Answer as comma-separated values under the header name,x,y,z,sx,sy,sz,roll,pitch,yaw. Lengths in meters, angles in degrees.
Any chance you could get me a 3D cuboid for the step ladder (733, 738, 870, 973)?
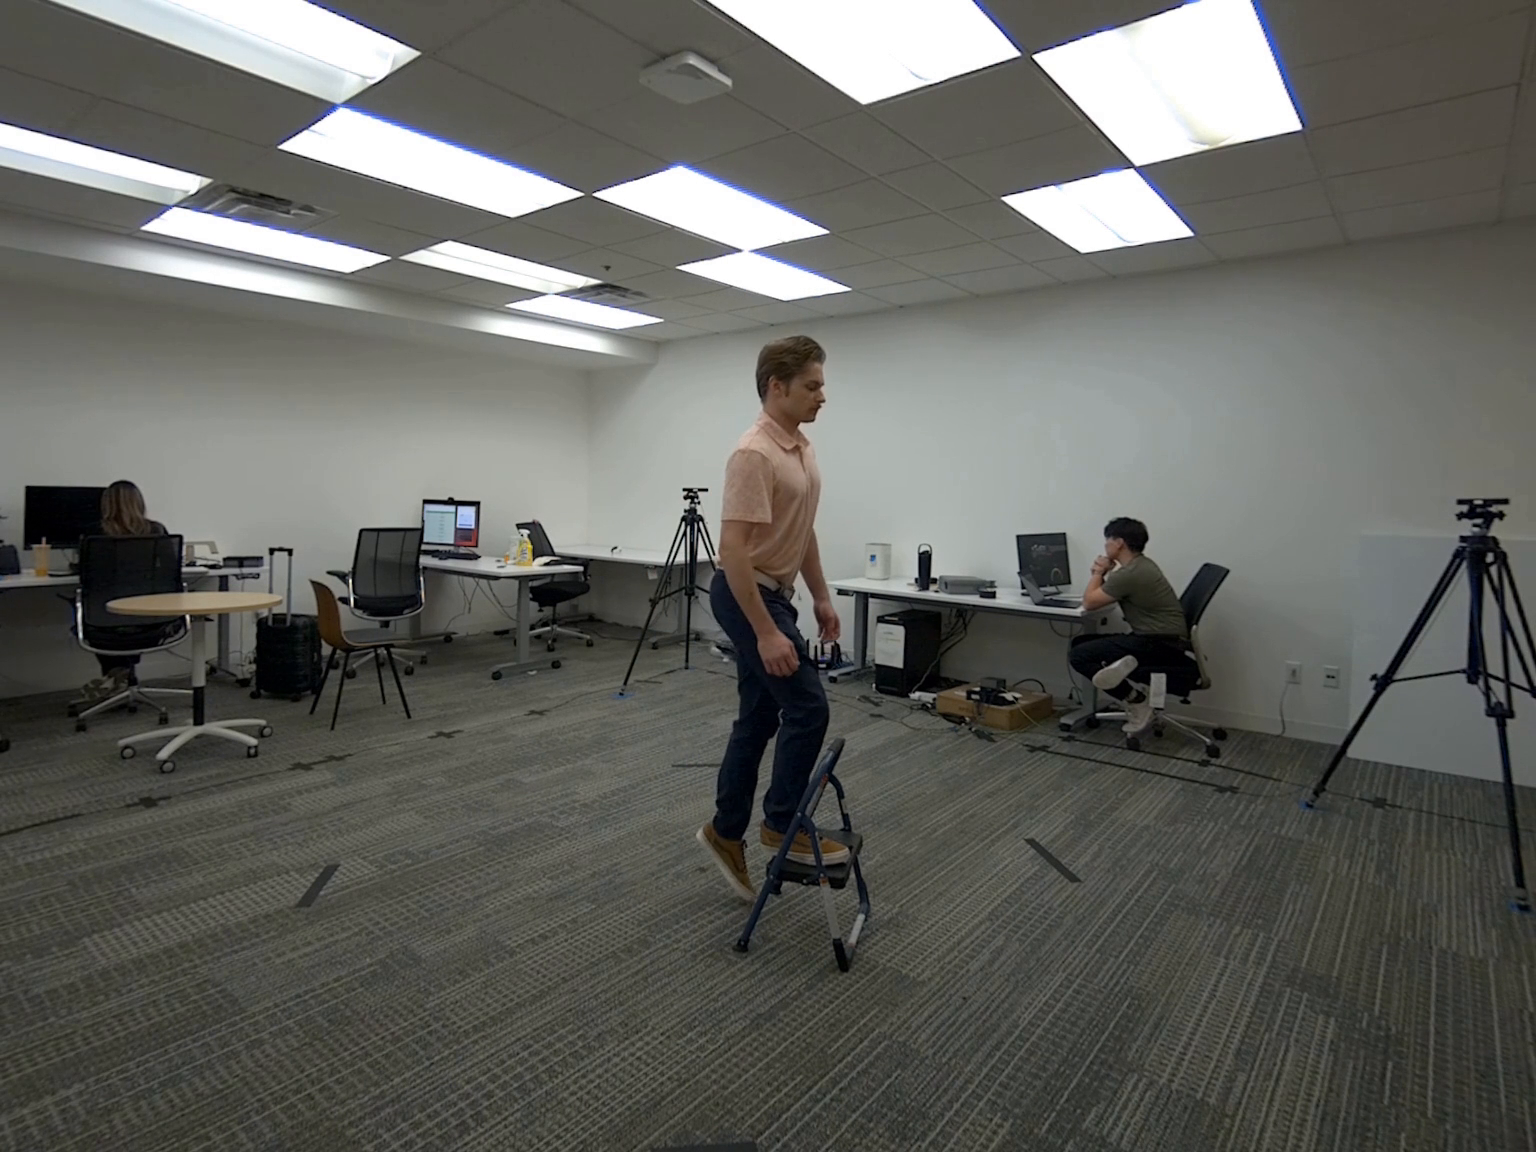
name,x,y,z,sx,sy,sz,roll,pitch,yaw
step ladder,0.127,0.818,2.687,0.356,0.604,0.424,3,4,17
